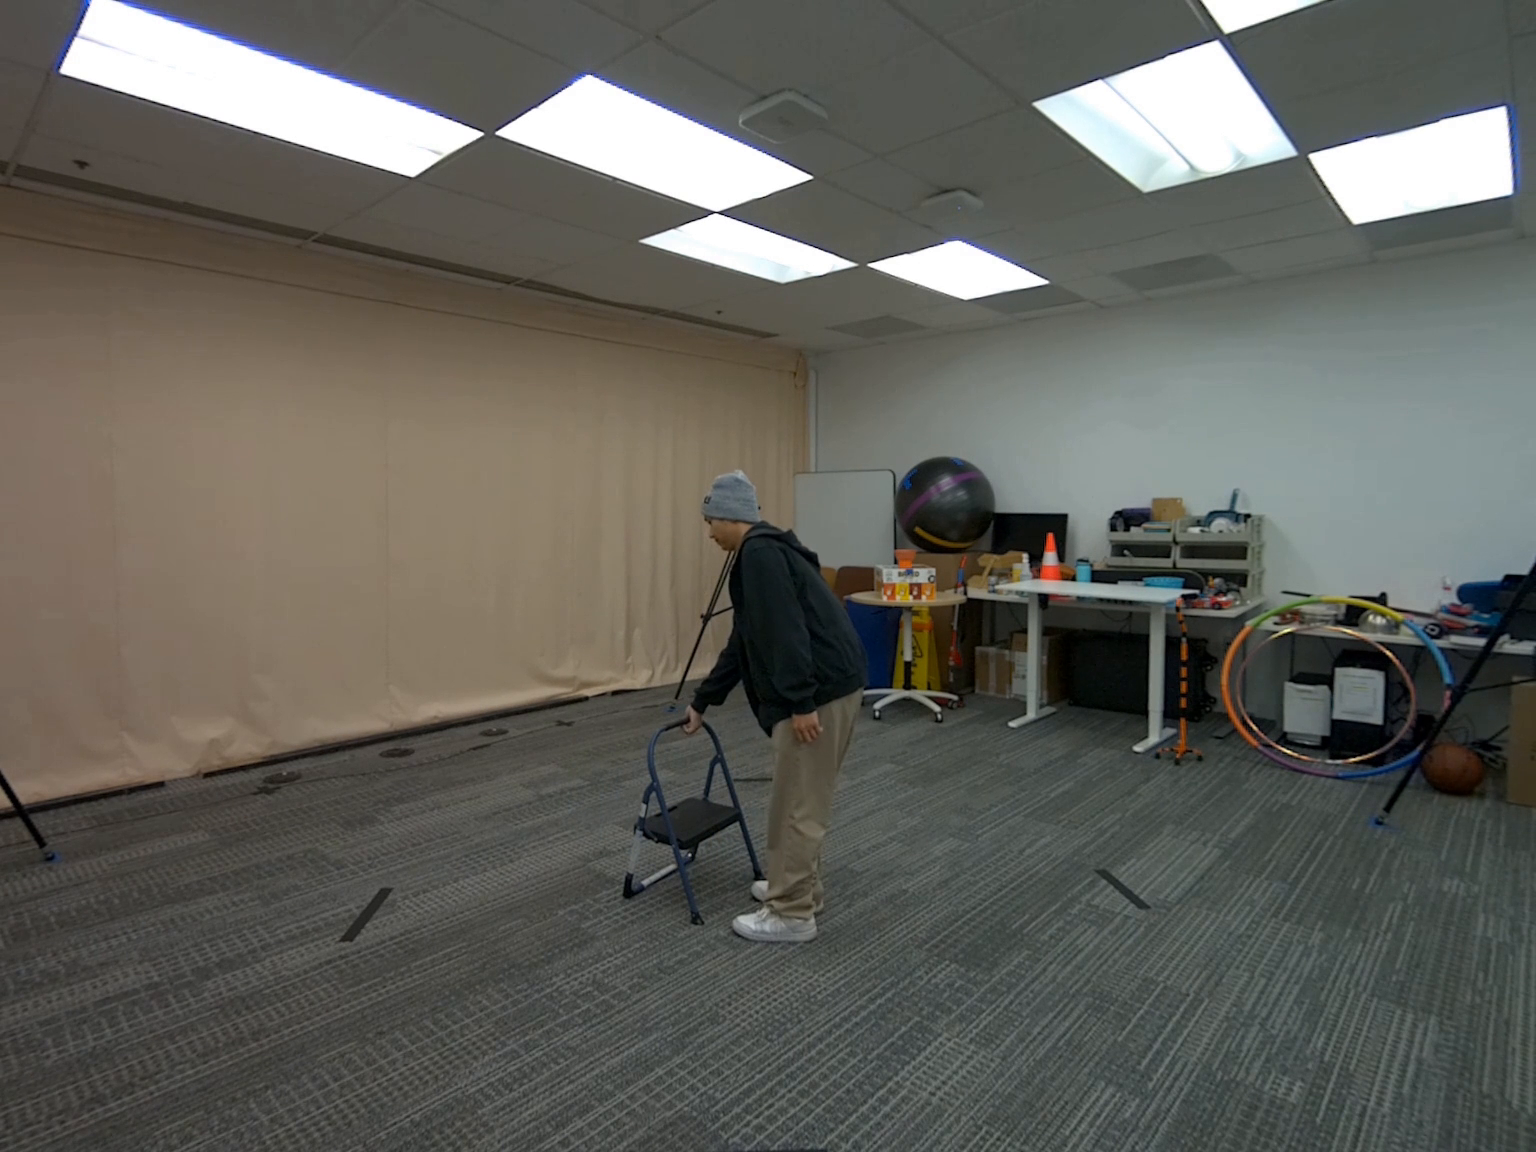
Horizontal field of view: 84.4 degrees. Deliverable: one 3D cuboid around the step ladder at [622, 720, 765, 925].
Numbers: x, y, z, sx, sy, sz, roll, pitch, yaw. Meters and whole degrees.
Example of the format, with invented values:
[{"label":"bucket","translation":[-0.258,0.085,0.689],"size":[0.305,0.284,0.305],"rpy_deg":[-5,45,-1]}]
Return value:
[{"label":"step ladder","translation":[-0.268,0.837,3.054],"size":[0.360,0.605,0.419],"rpy_deg":[2,4,32]}]
